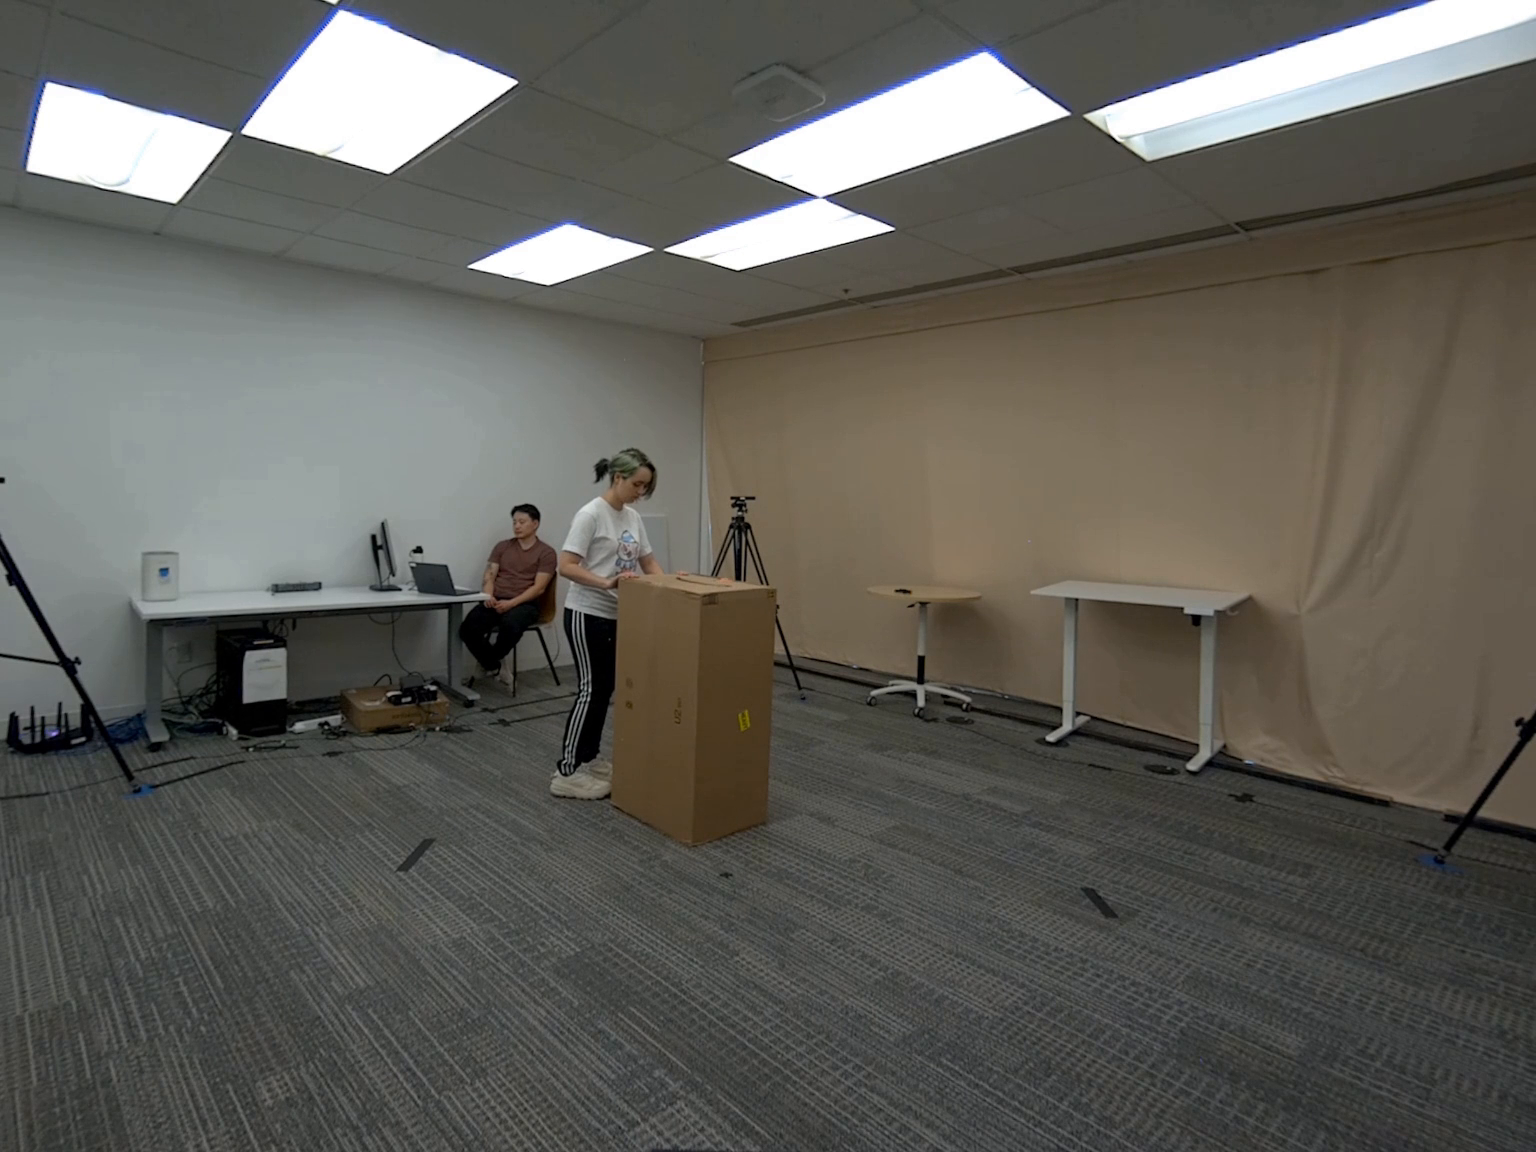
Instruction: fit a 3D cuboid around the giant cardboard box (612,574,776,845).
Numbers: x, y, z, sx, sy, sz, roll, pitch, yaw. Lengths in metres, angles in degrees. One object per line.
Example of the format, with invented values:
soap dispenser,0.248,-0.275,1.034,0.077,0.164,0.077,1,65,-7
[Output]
giant cardboard box,-0.336,0.537,3.658,0.437,1.023,0.599,-3,7,-44
